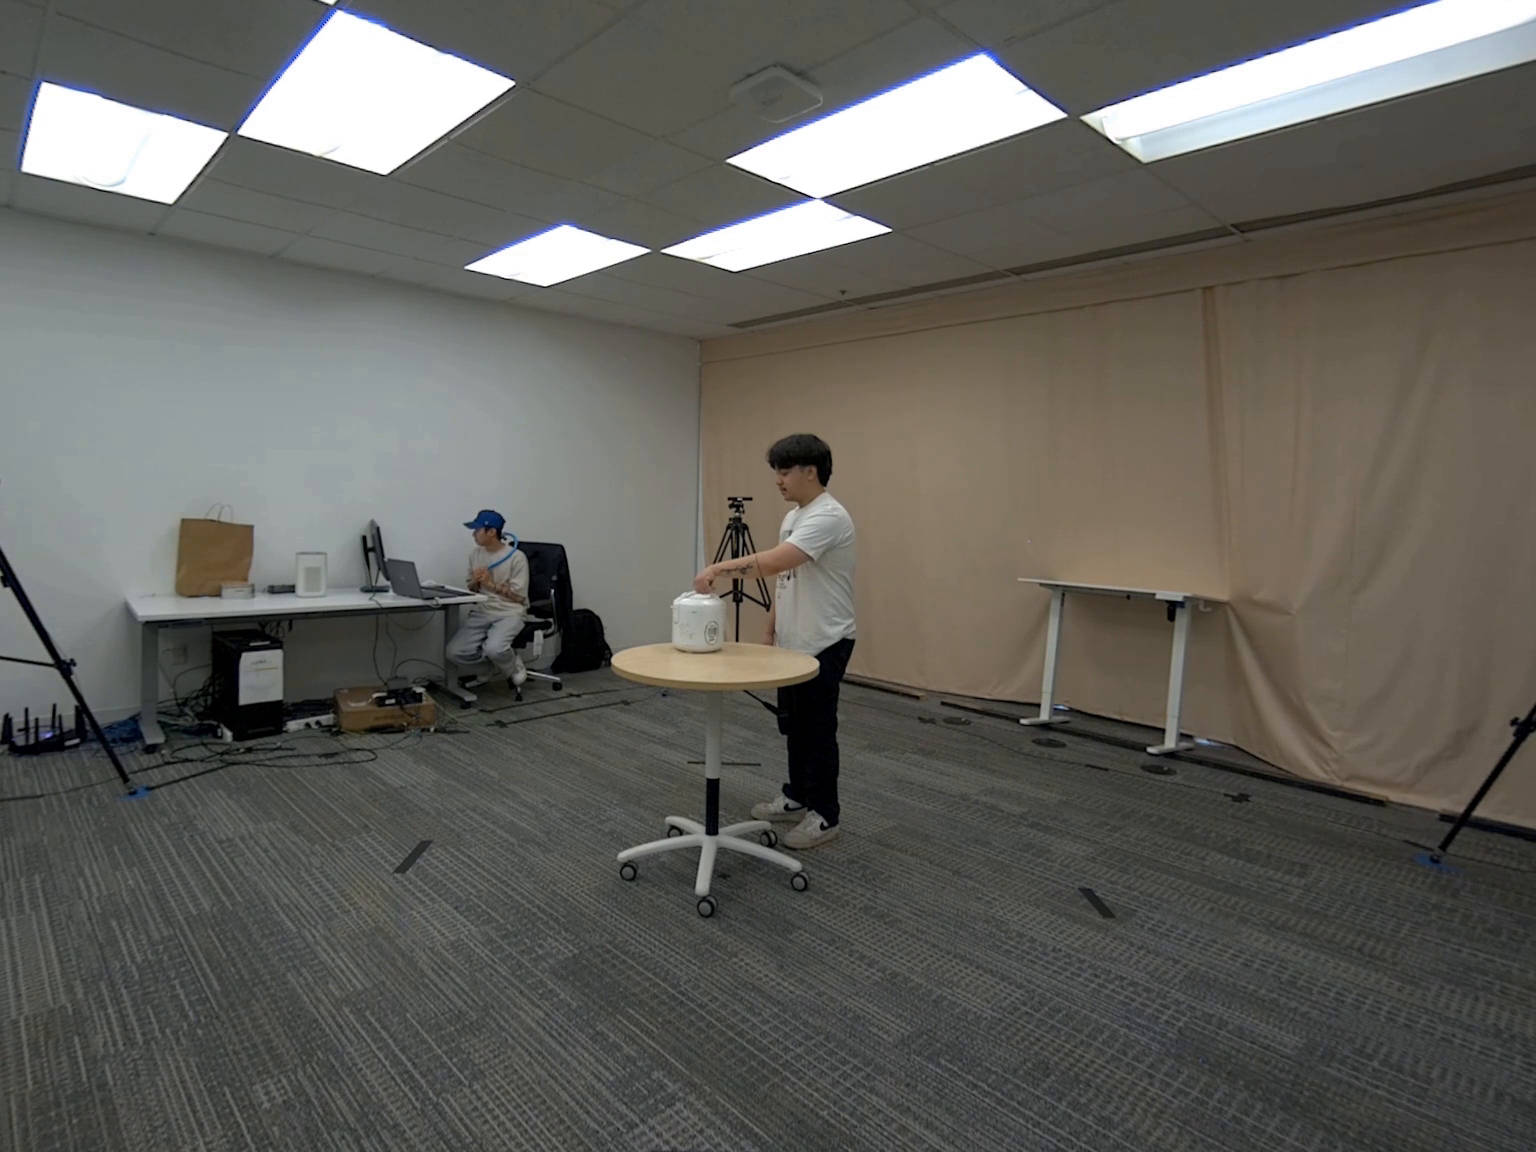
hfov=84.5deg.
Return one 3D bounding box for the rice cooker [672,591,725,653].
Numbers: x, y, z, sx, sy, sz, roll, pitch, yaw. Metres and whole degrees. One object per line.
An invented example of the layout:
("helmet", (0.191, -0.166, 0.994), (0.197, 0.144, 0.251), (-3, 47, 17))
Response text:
("rice cooker", (-0.278, 0.172, 3.302), (0.216, 0.232, 0.222), (-2, 4, -33))
